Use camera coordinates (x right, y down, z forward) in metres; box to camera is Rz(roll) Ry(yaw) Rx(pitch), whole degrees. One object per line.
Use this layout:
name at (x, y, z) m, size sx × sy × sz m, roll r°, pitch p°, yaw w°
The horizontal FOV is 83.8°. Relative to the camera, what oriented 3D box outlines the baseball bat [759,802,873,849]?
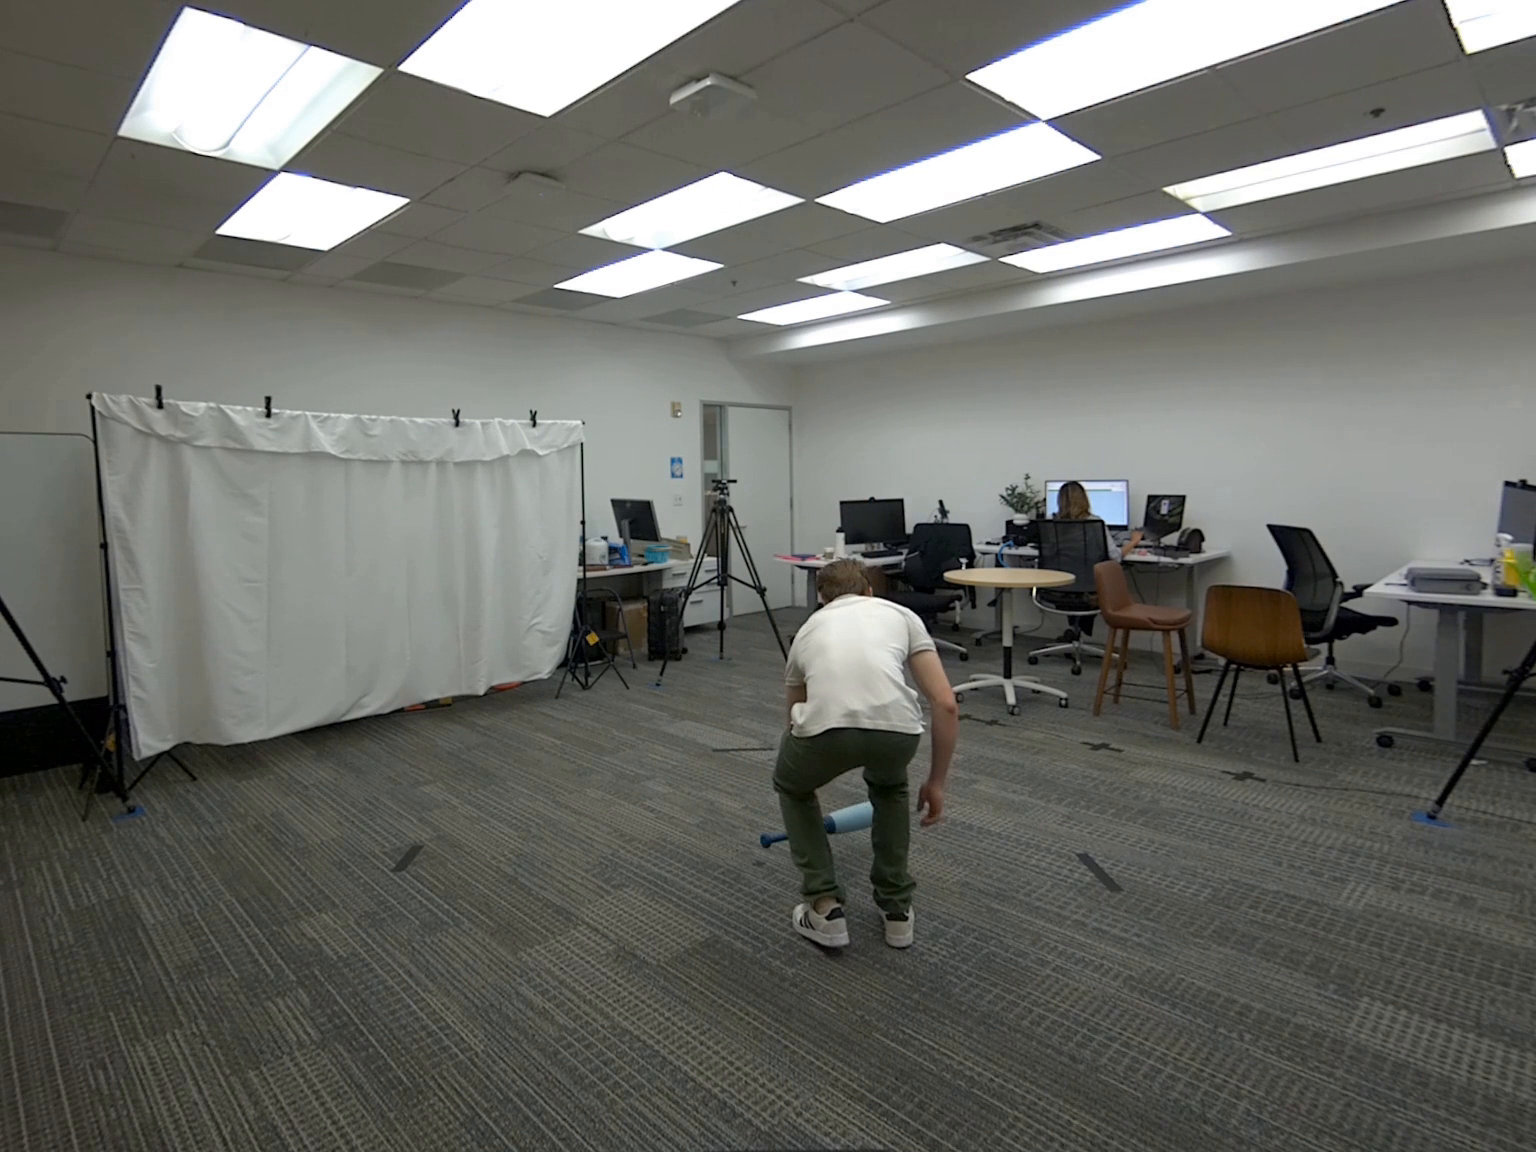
baseball bat at (0.210, 0.900, 3.075) m, size 0.530 × 0.089 × 0.091 m, roll -5°, pitch 6°, yaw -30°
